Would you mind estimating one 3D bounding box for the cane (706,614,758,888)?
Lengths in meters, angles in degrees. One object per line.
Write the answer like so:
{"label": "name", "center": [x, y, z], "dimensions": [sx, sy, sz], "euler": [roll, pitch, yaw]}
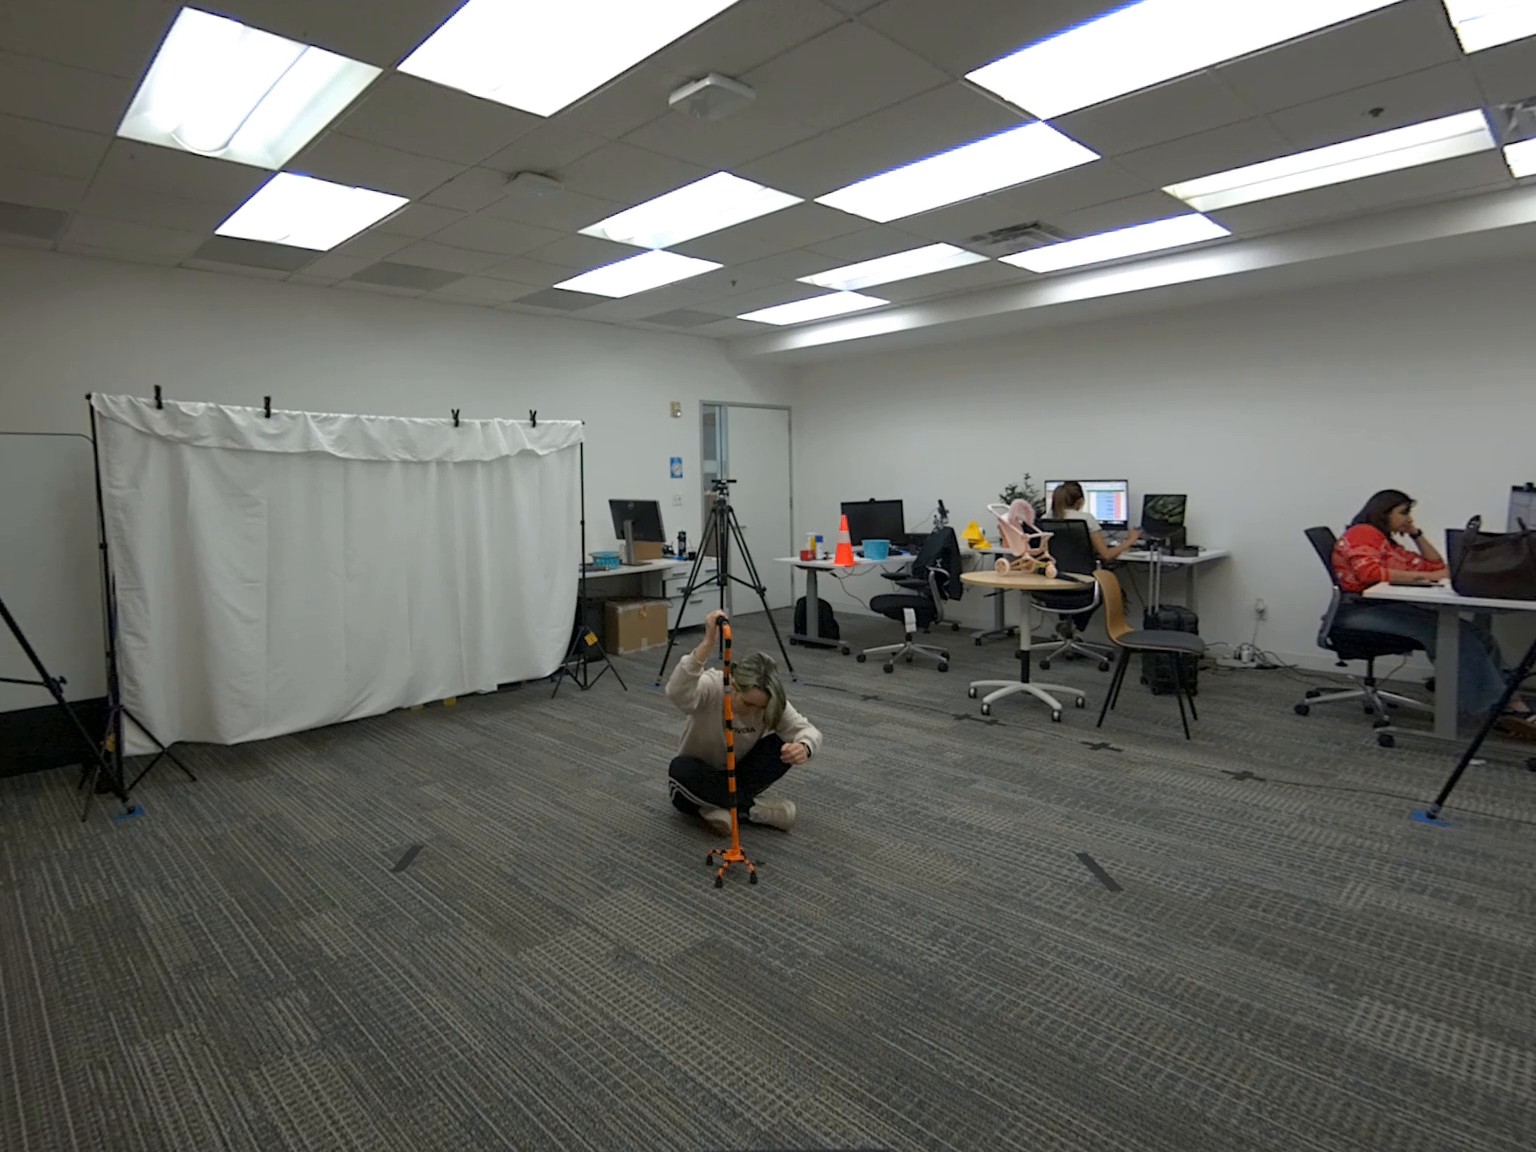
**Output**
{"label": "cane", "center": [-0.149, 0.605, 3.016], "dimensions": [0.150, 0.905, 0.209], "euler": [-4, 3, -11]}
